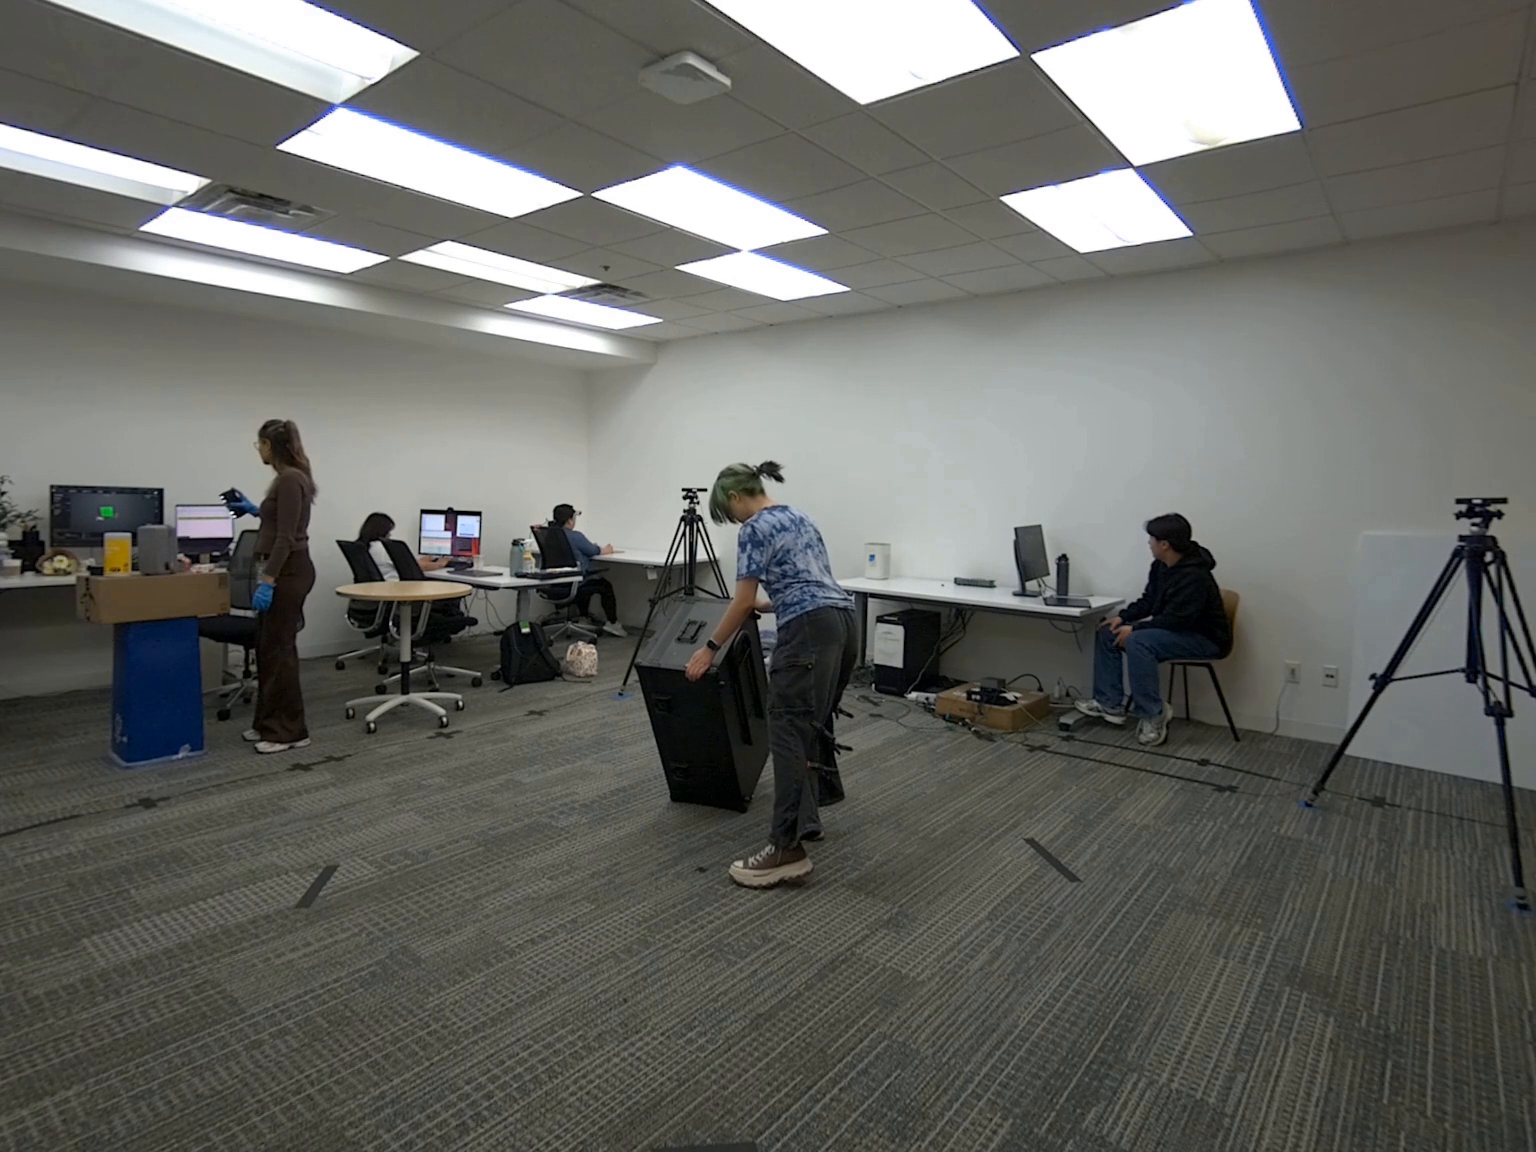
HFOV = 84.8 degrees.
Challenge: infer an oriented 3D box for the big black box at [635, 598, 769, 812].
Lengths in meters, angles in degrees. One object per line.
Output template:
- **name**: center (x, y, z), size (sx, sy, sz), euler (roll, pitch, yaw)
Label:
- **big black box**: center (-0.243, 0.577, 3.734), size (0.405, 0.836, 0.525), euler (4, 34, 21)
